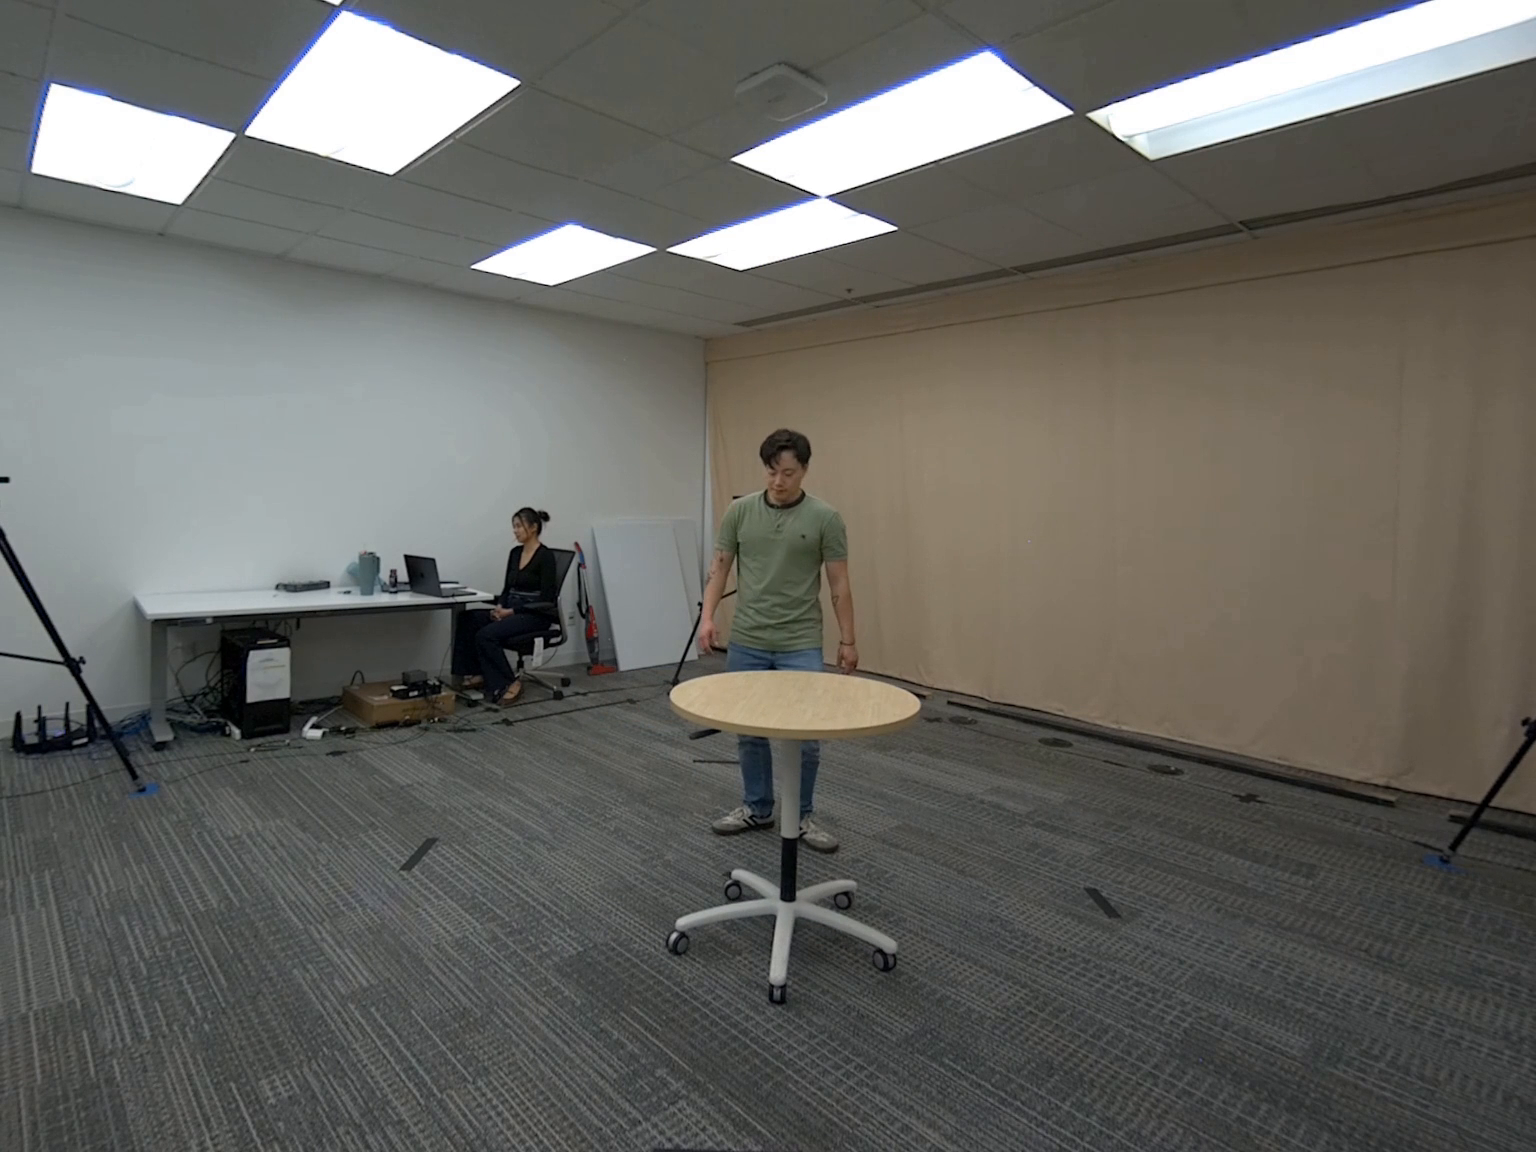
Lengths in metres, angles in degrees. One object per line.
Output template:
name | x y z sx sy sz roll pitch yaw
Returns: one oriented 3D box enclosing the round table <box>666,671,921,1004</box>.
round table | 0.057 0.766 2.614 0.763 0.792 0.767 1 4 -1
